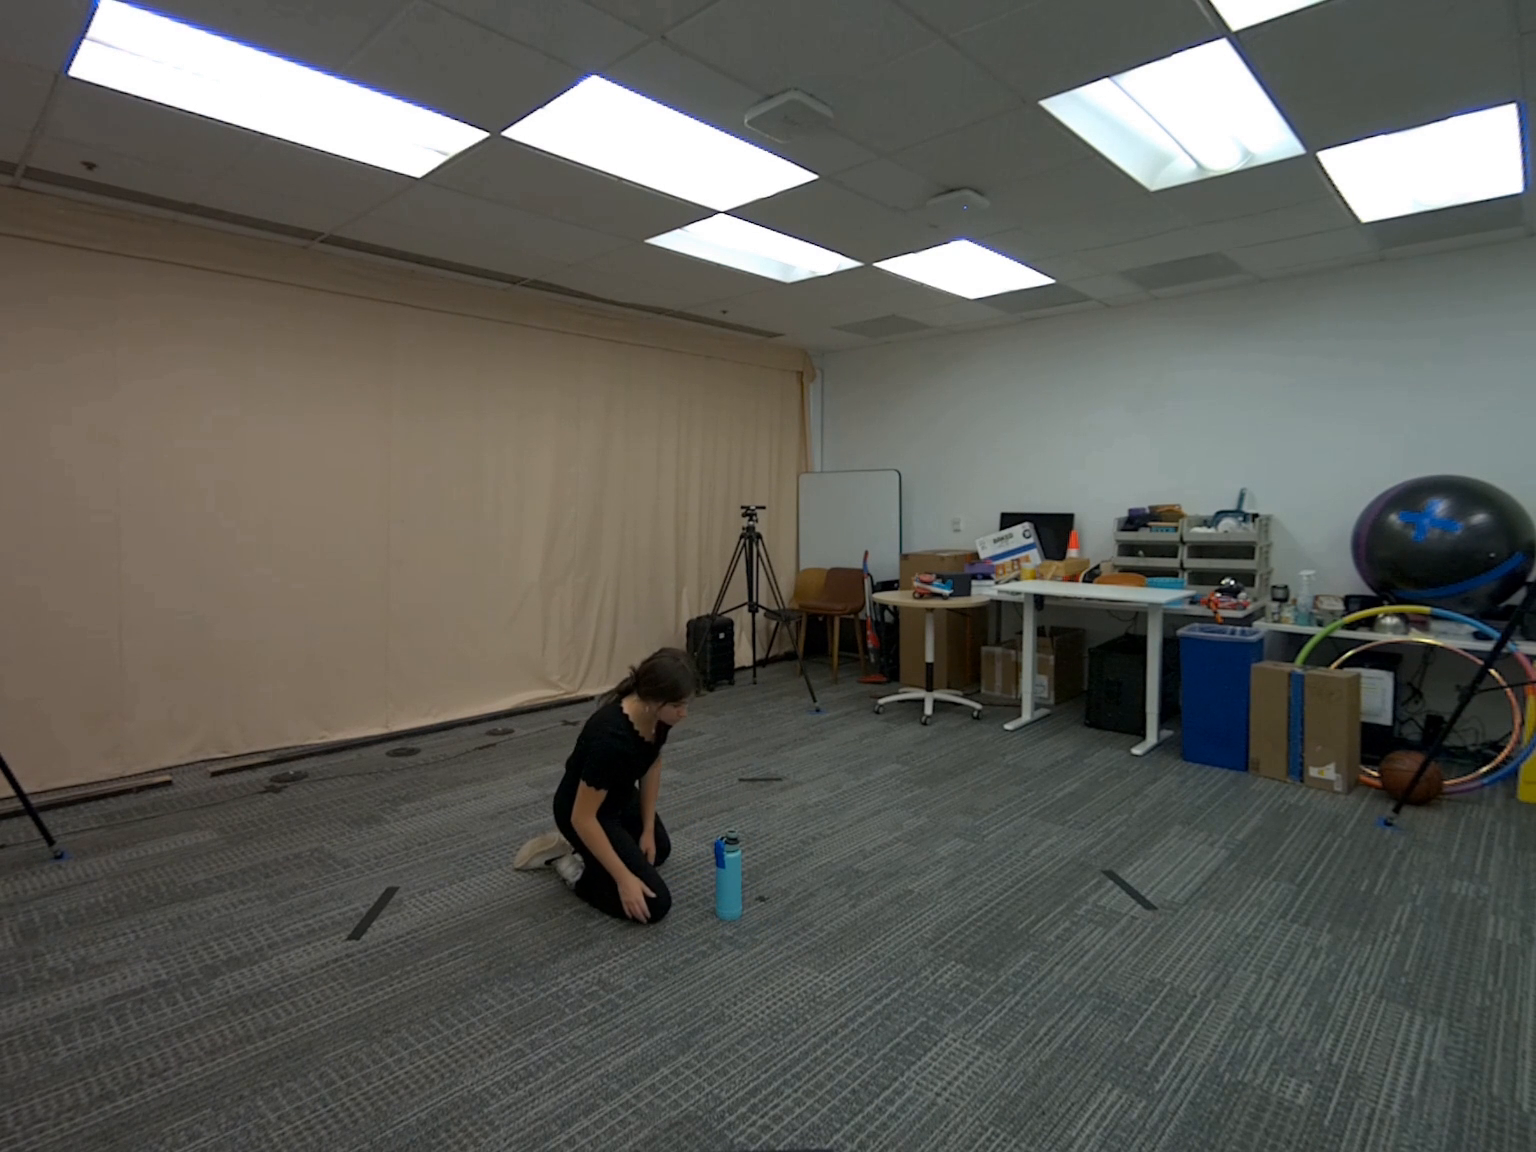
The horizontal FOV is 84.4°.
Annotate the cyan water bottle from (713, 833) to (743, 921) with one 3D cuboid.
[{"bbox_3d":[-0.135,1.018,2.855,0.092,0.283,0.092,-1,3,-2],"label":"cyan water bottle"}]
